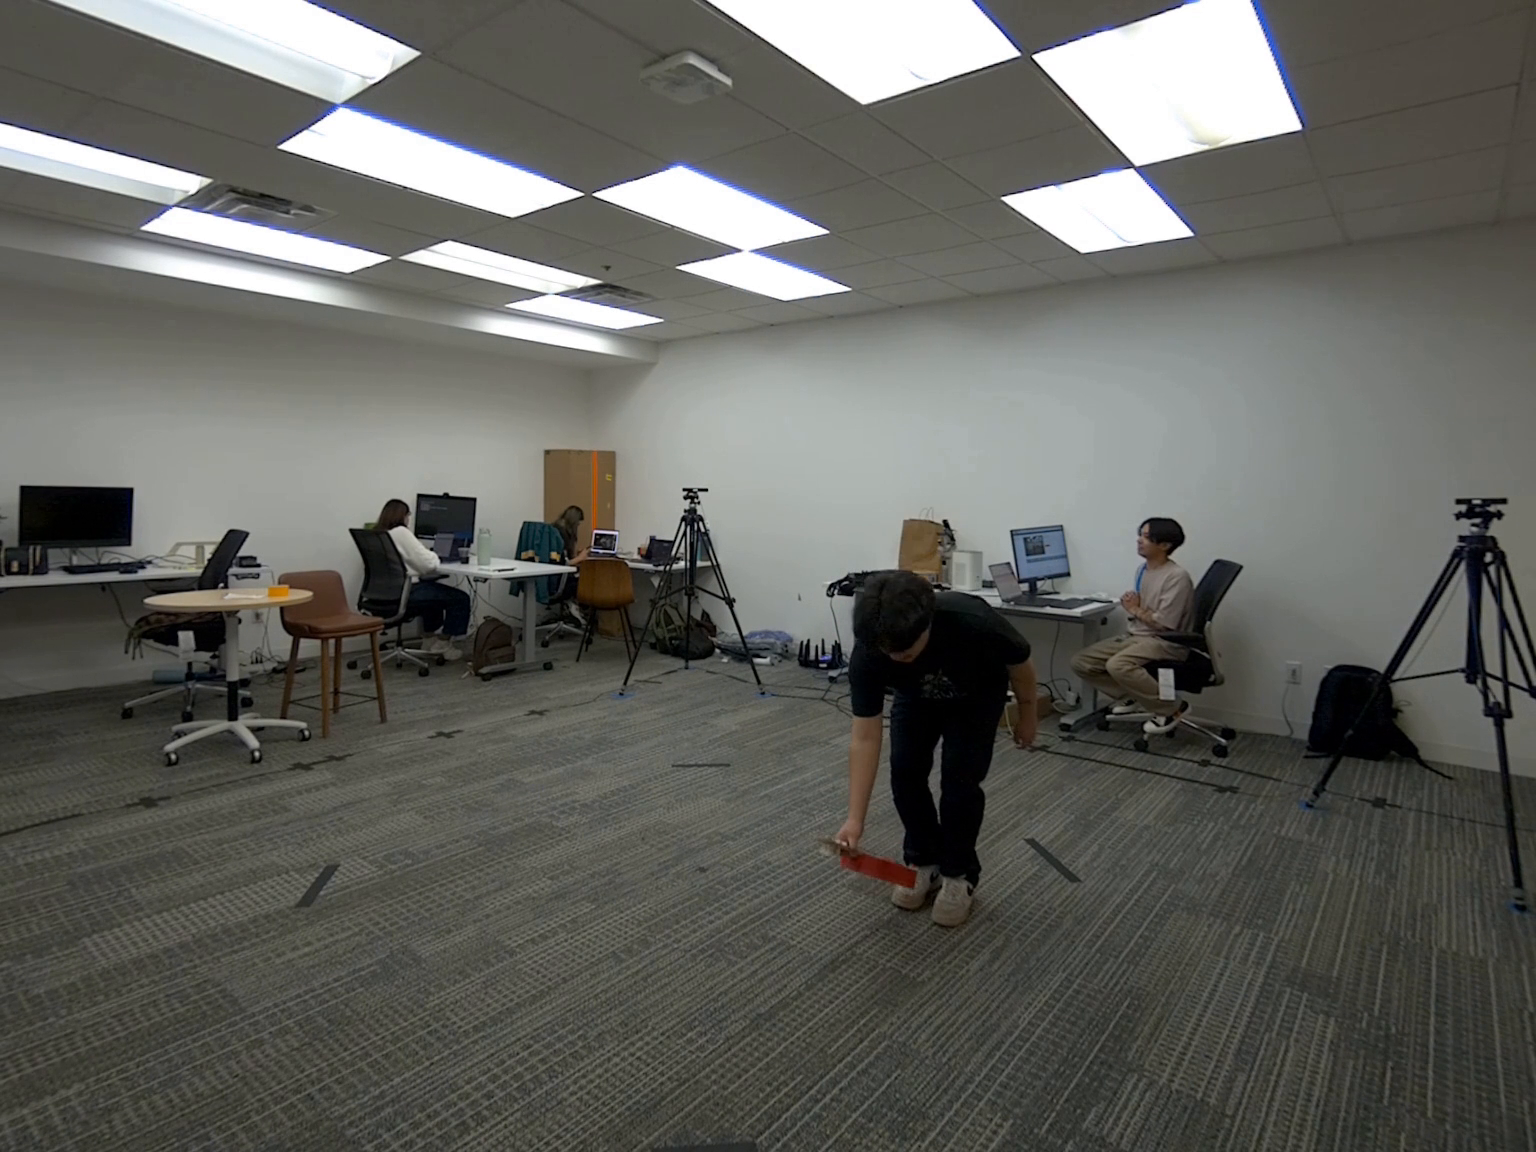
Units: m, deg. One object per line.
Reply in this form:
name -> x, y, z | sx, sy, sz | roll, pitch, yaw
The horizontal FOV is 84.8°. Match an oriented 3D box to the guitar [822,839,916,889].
guitar -> 0.255, 0.858, 2.623 | 0.478, 0.071, 0.199 | 30, -19, -36
